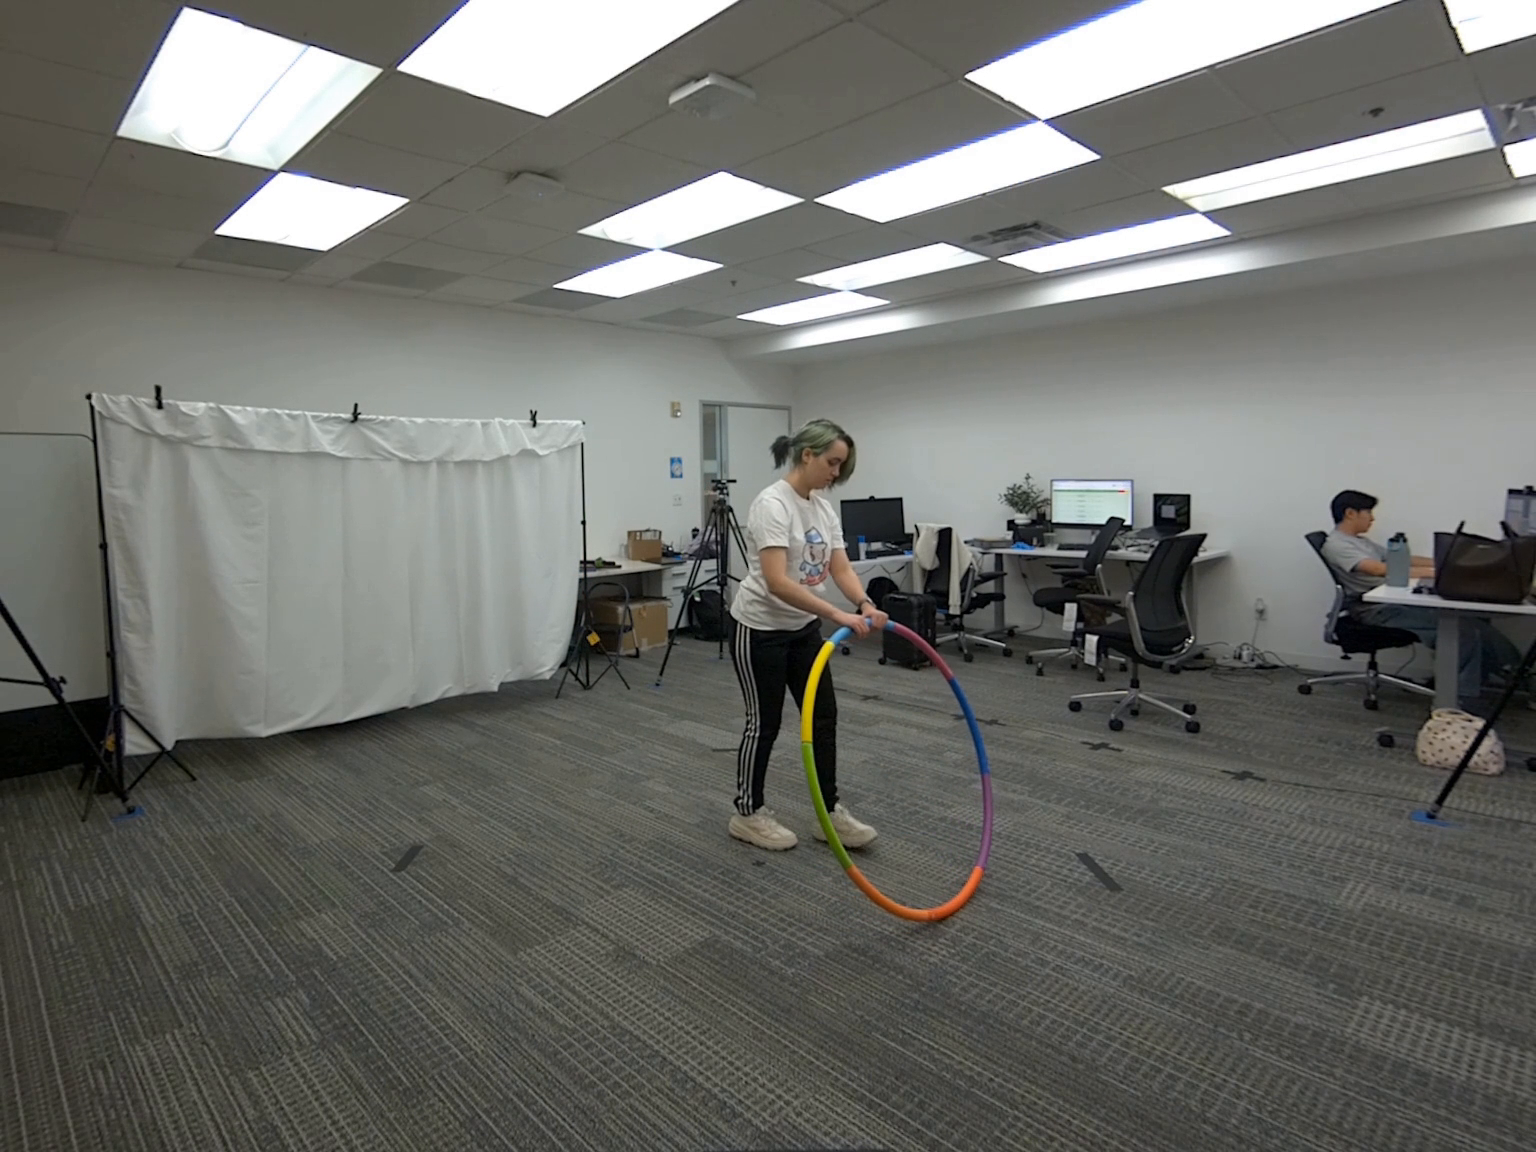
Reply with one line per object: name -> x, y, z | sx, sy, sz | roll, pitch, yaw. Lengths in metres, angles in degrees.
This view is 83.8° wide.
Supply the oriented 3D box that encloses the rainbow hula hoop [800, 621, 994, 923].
rainbow hula hoop -> 0.459, 0.614, 2.847 | 0.953, 0.992, 0.036 | -6, -16, -47
